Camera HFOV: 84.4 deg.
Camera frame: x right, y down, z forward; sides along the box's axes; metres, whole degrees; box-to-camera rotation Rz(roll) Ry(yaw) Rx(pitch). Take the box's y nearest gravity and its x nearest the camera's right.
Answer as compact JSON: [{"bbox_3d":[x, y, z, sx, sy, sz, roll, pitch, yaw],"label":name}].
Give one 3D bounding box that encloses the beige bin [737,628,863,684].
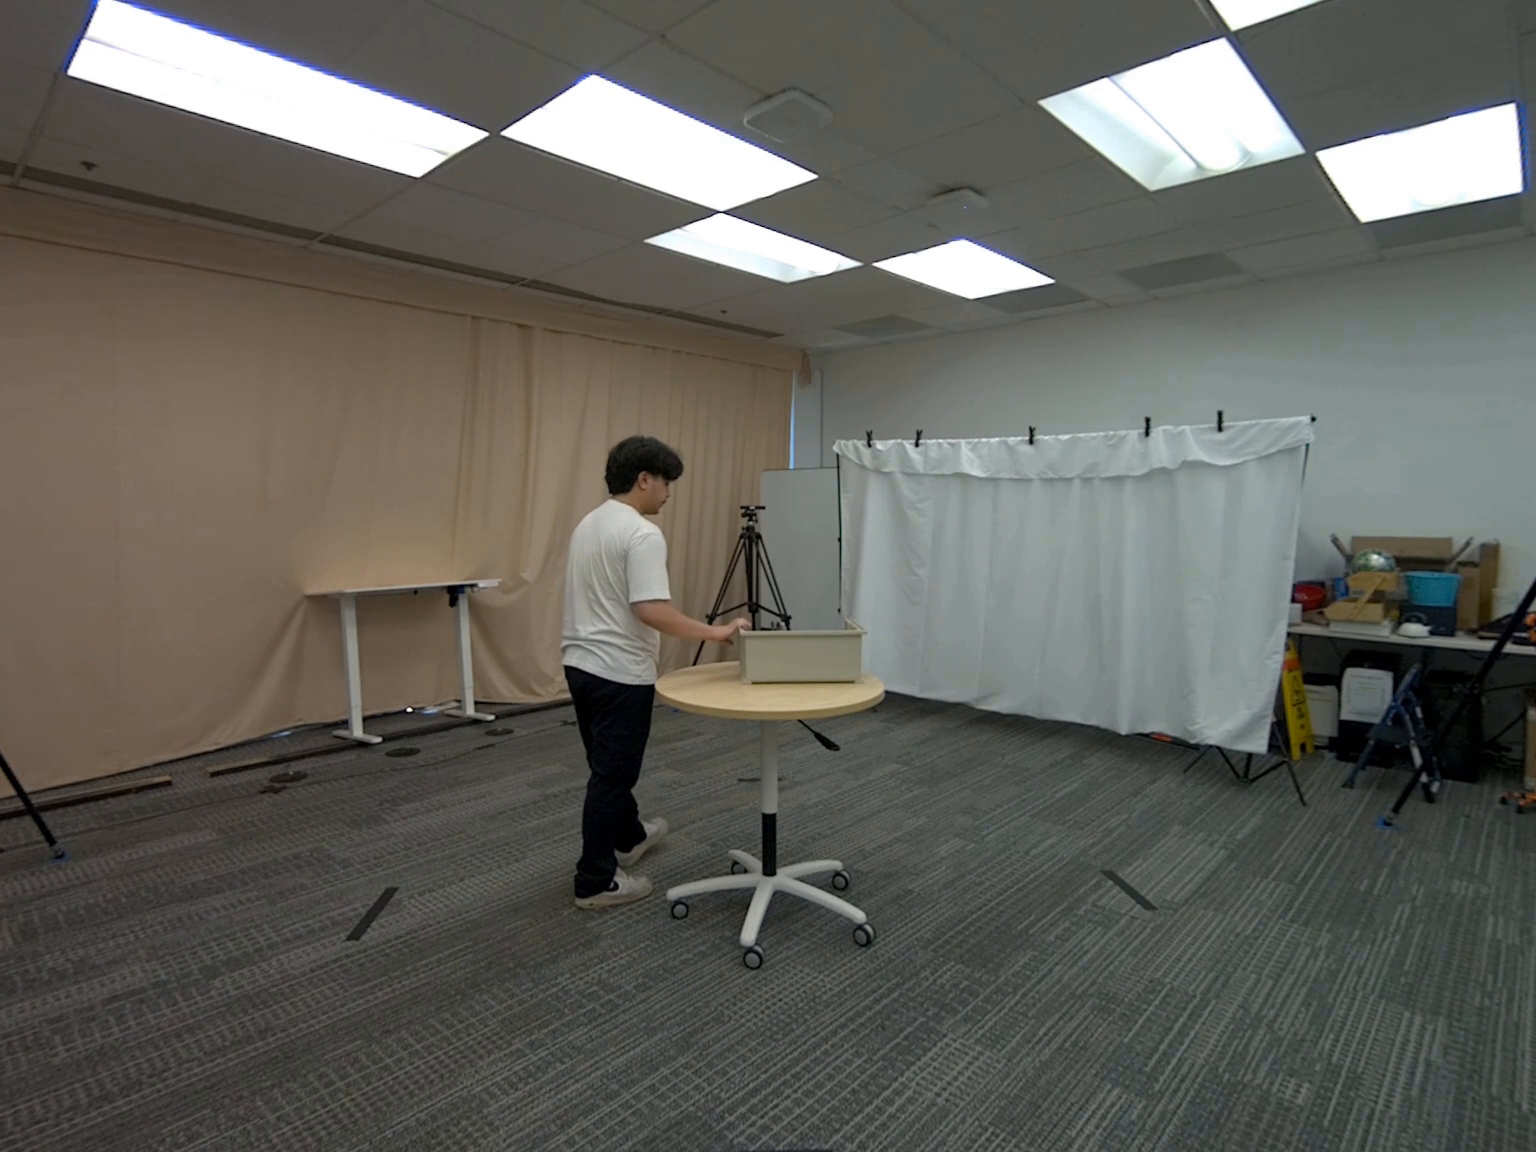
[{"bbox_3d":[0.108,0.260,2.971,0.421,0.188,0.380,0,5,-5],"label":"beige bin"}]
